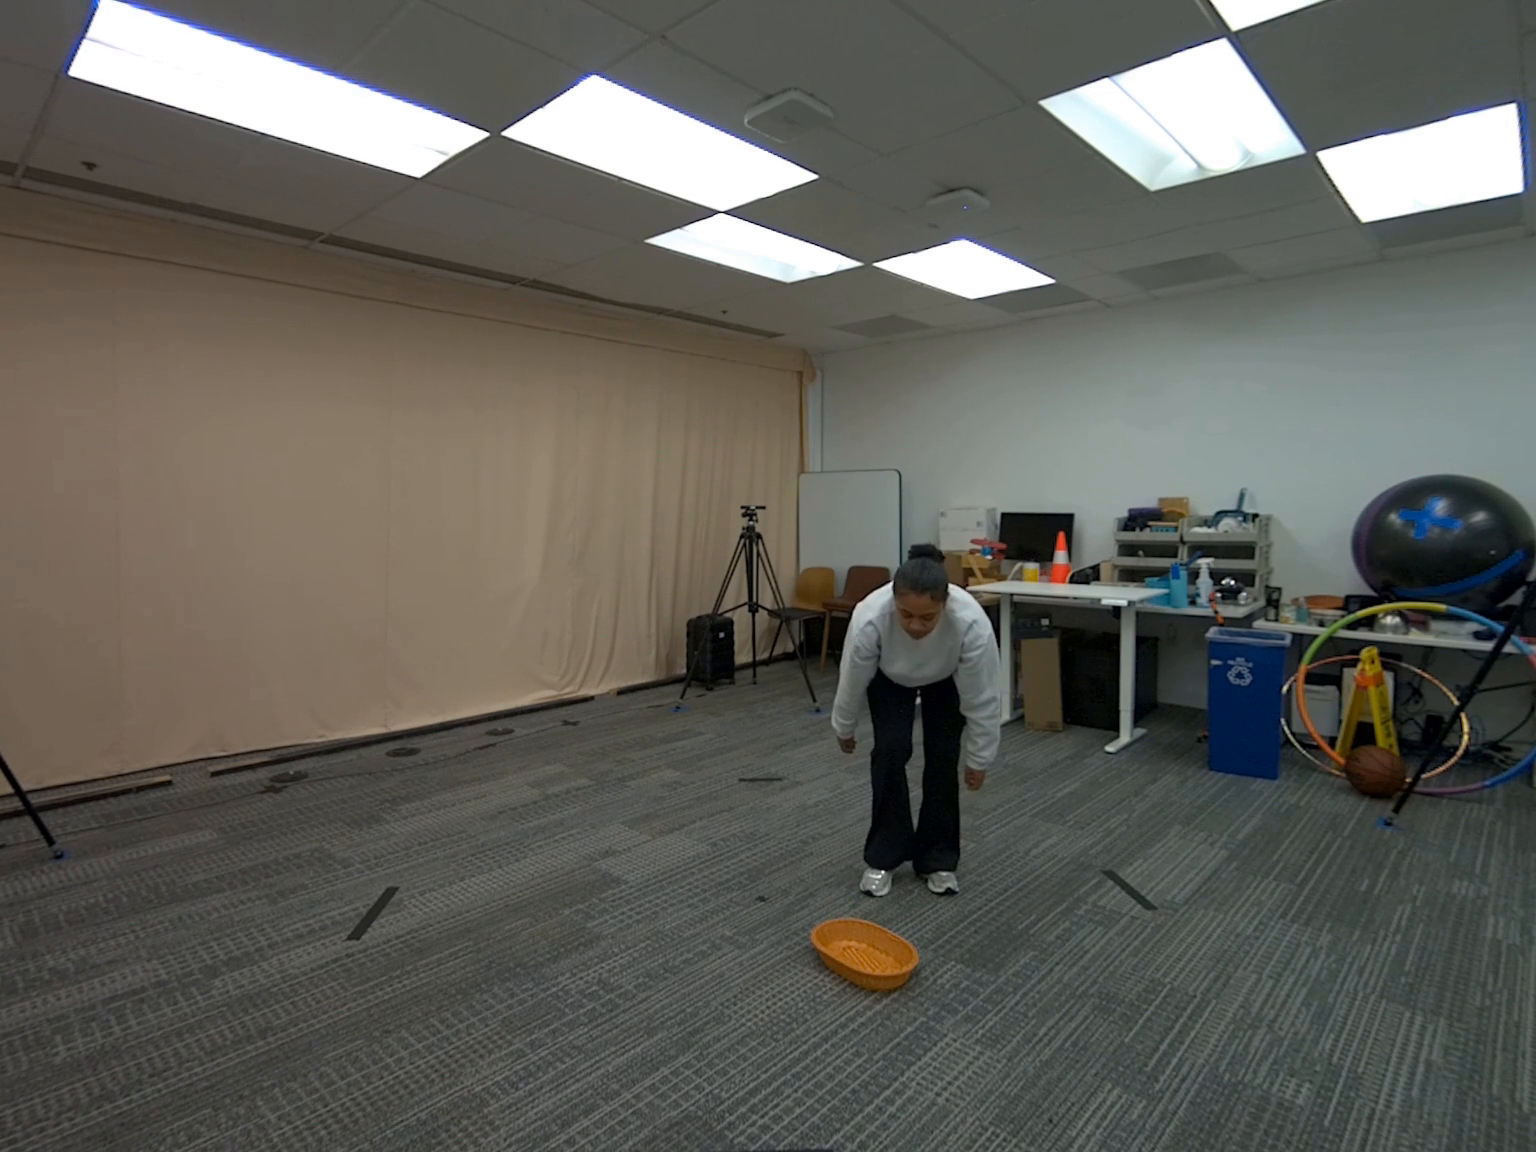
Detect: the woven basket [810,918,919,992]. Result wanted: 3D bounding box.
[{"bbox_3d":[0.290,1.143,2.537,0.245,0.073,0.362,-4,6,-37],"label":"woven basket"}]
